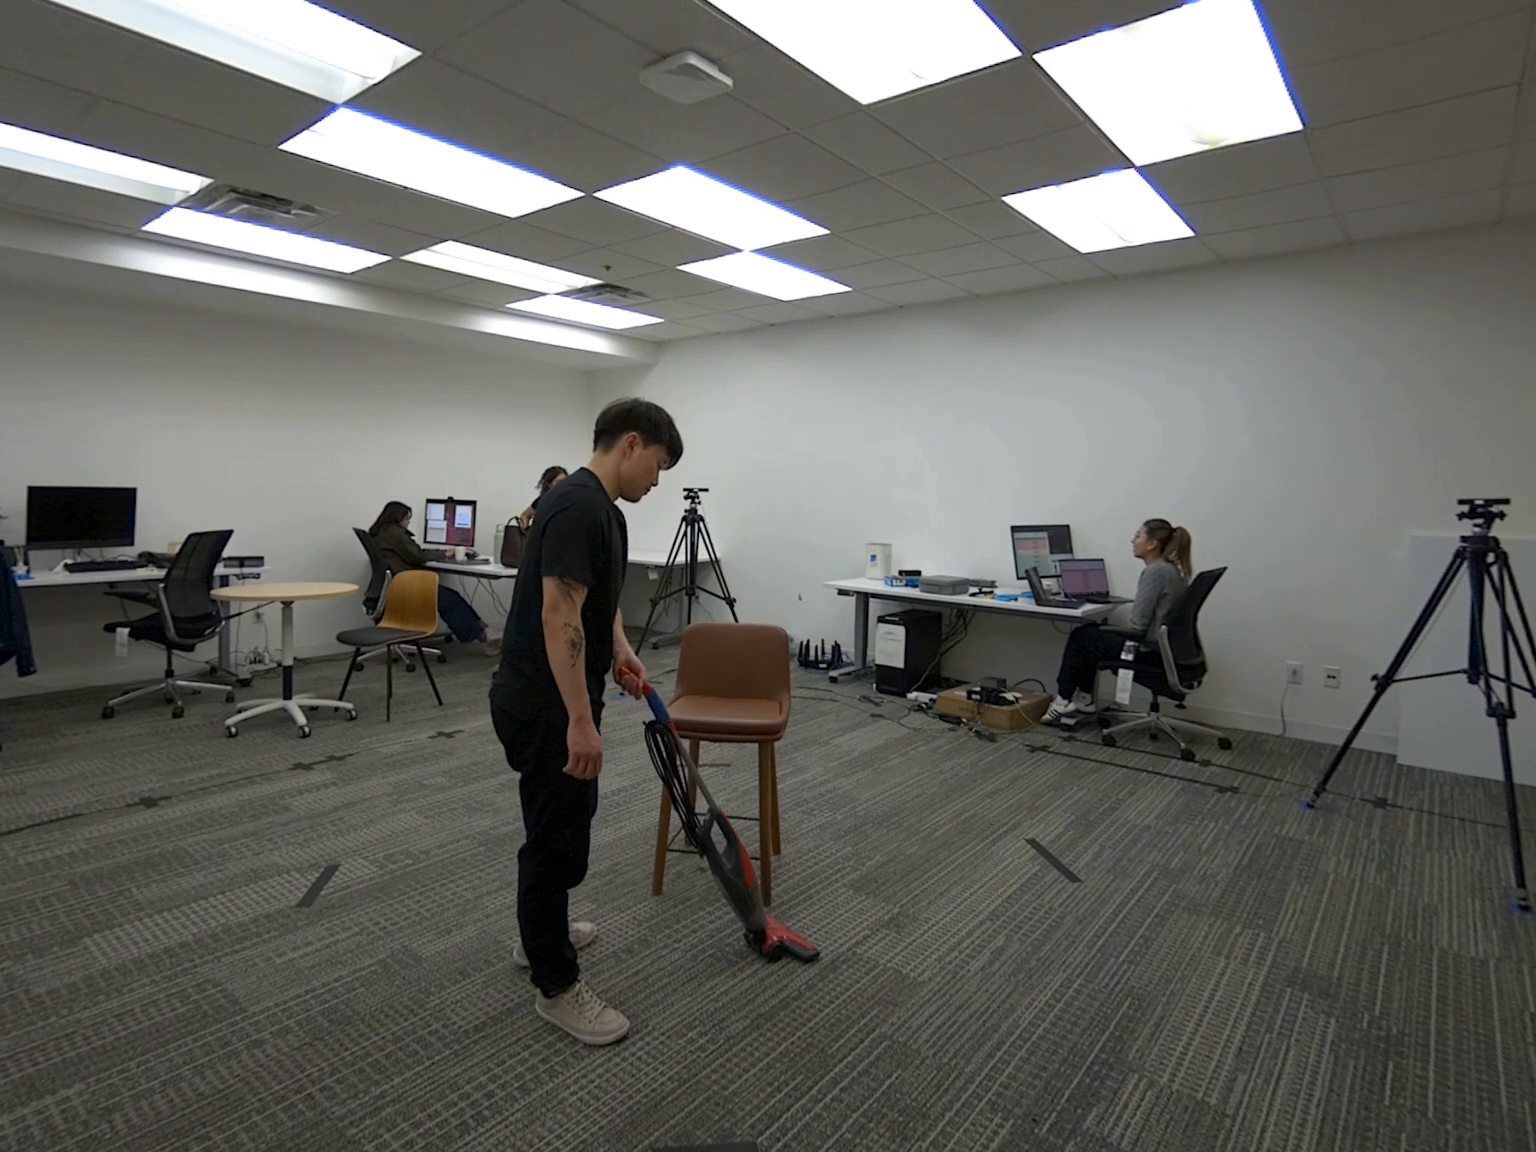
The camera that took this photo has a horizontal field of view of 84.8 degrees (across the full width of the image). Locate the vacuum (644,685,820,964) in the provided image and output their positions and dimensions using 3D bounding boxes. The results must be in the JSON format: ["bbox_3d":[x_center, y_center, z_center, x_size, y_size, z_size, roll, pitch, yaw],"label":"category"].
[{"bbox_3d":[-0.174,0.679,2.406,0.143,1.023,0.261,-36,24,-32],"label":"vacuum"}]
